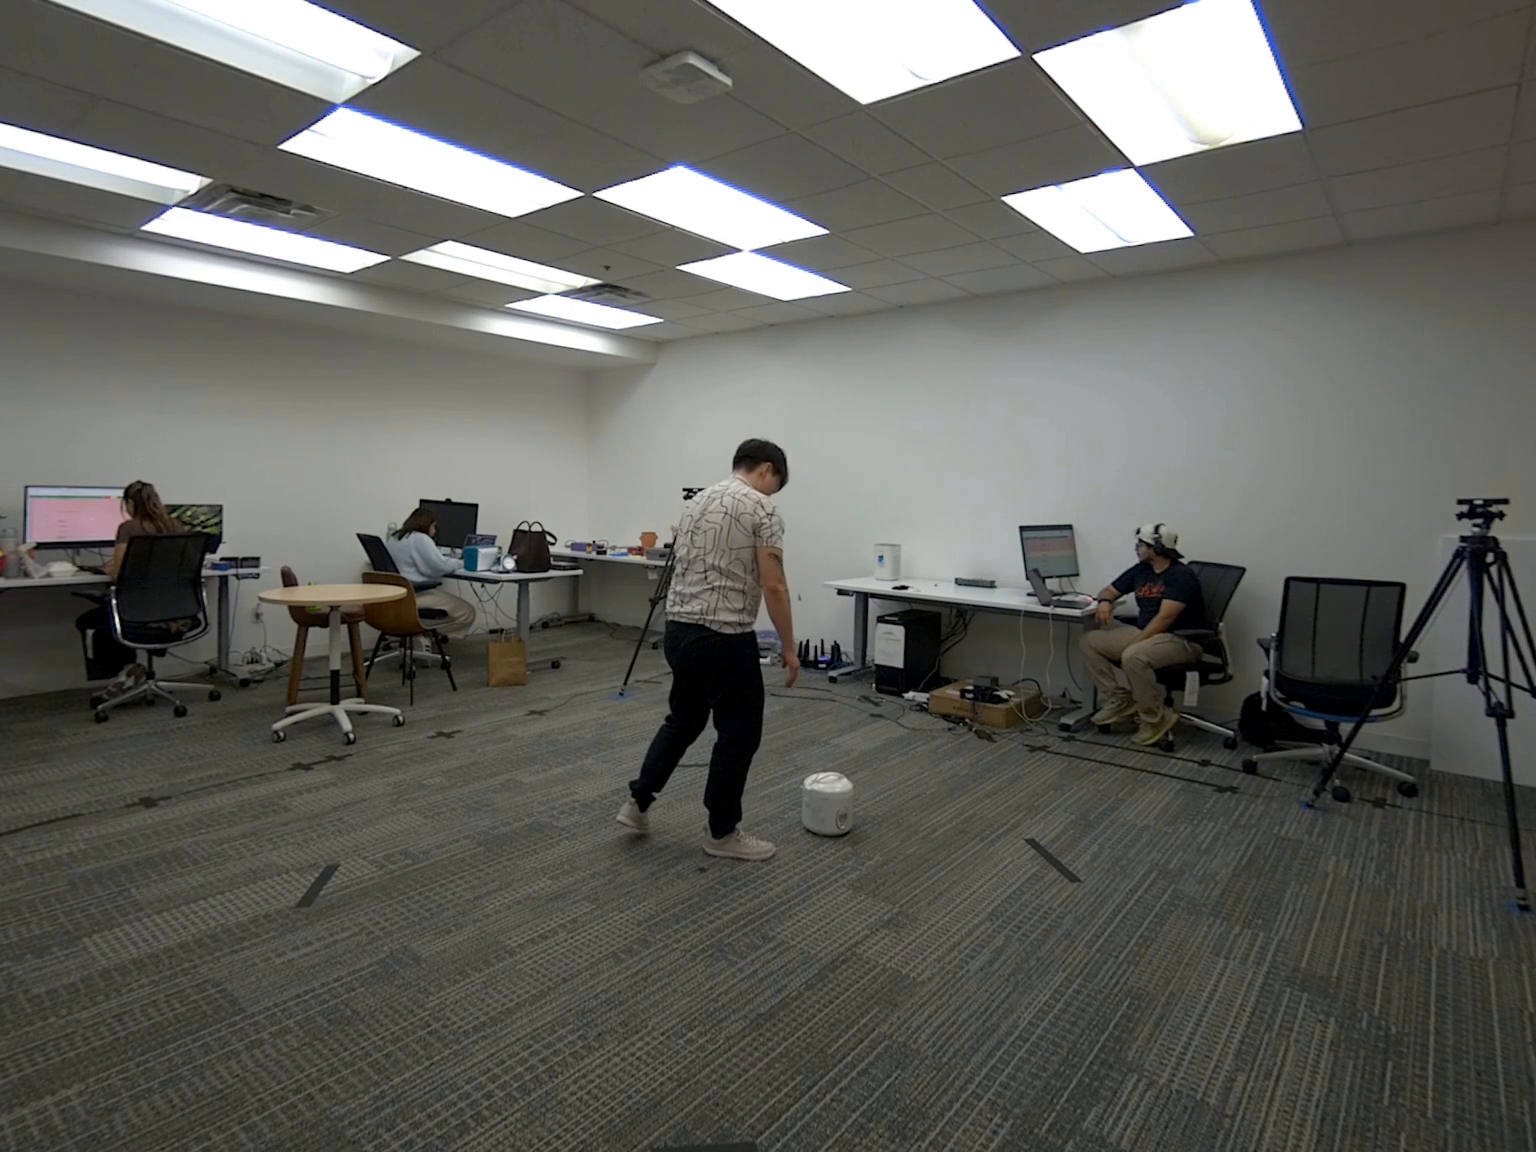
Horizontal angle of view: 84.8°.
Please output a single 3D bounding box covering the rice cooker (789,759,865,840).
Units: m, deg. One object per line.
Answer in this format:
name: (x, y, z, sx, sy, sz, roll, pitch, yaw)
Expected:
rice cooker: (0.241, 0.922, 3.496, 0.215, 0.232, 0.224, -1, 3, -29)
